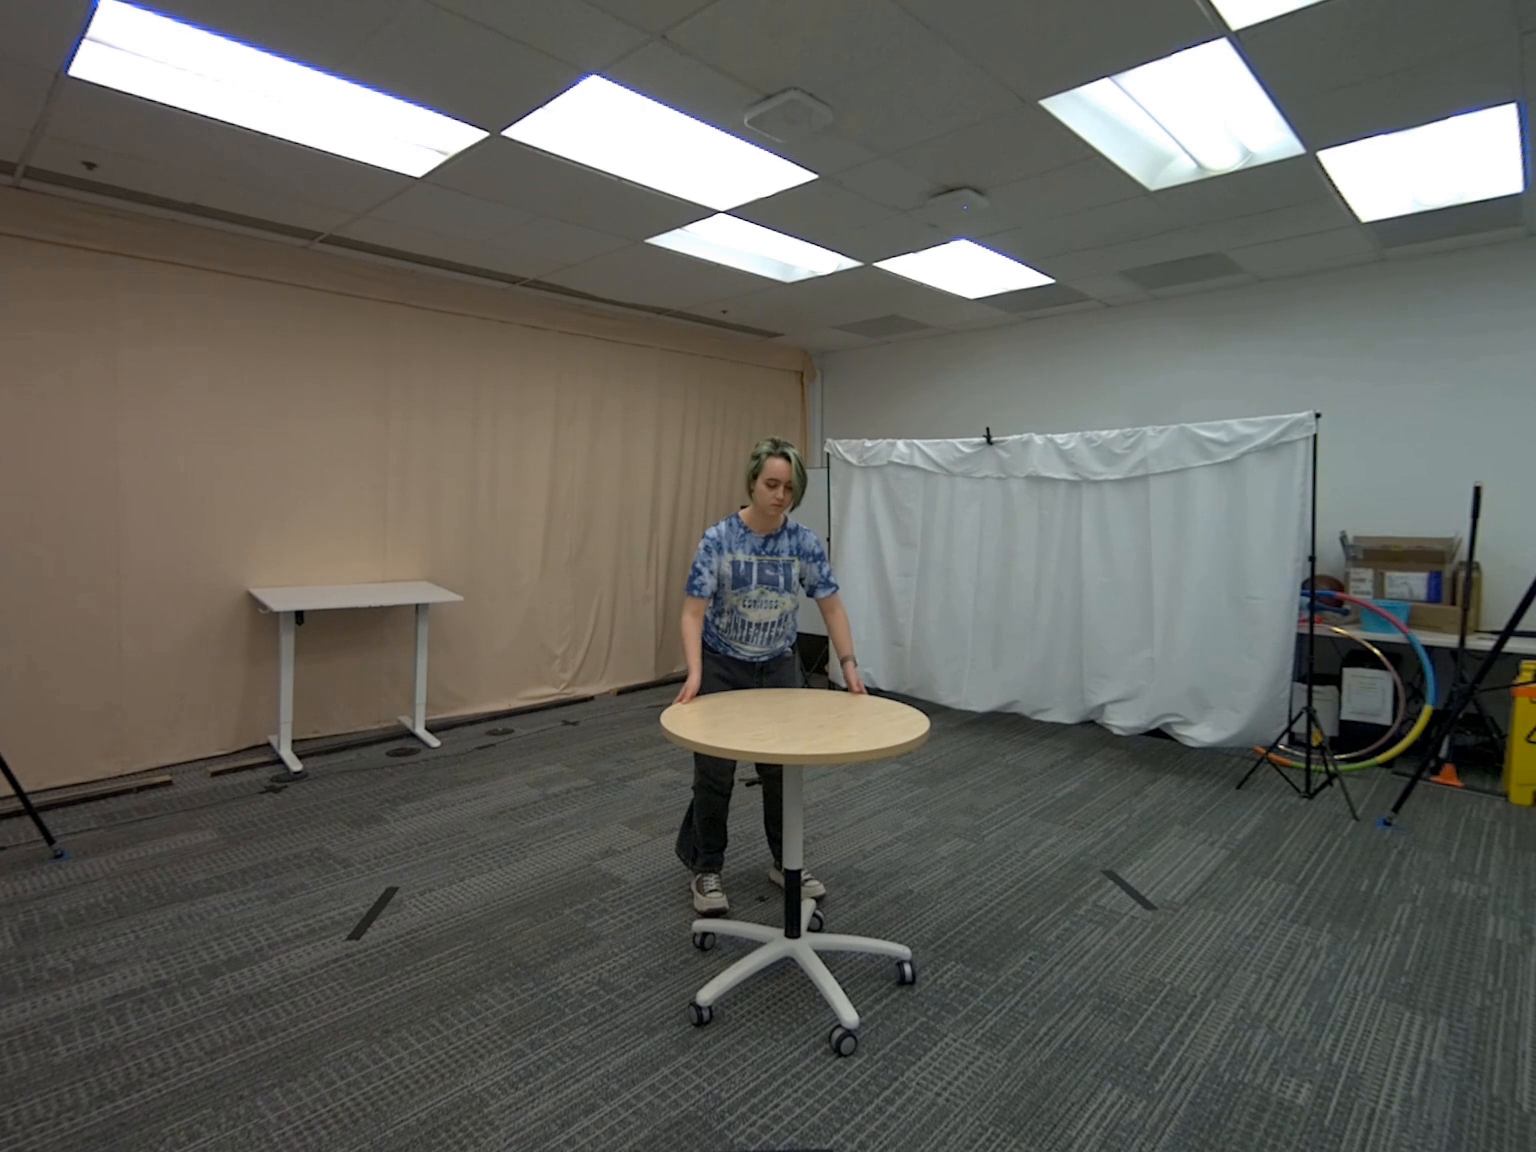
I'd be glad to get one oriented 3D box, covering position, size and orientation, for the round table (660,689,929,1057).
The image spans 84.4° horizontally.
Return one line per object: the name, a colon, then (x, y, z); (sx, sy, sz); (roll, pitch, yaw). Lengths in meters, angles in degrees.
round table: (0.072, 0.798, 2.443); (0.763, 0.792, 0.766); (0, 3, -2)
